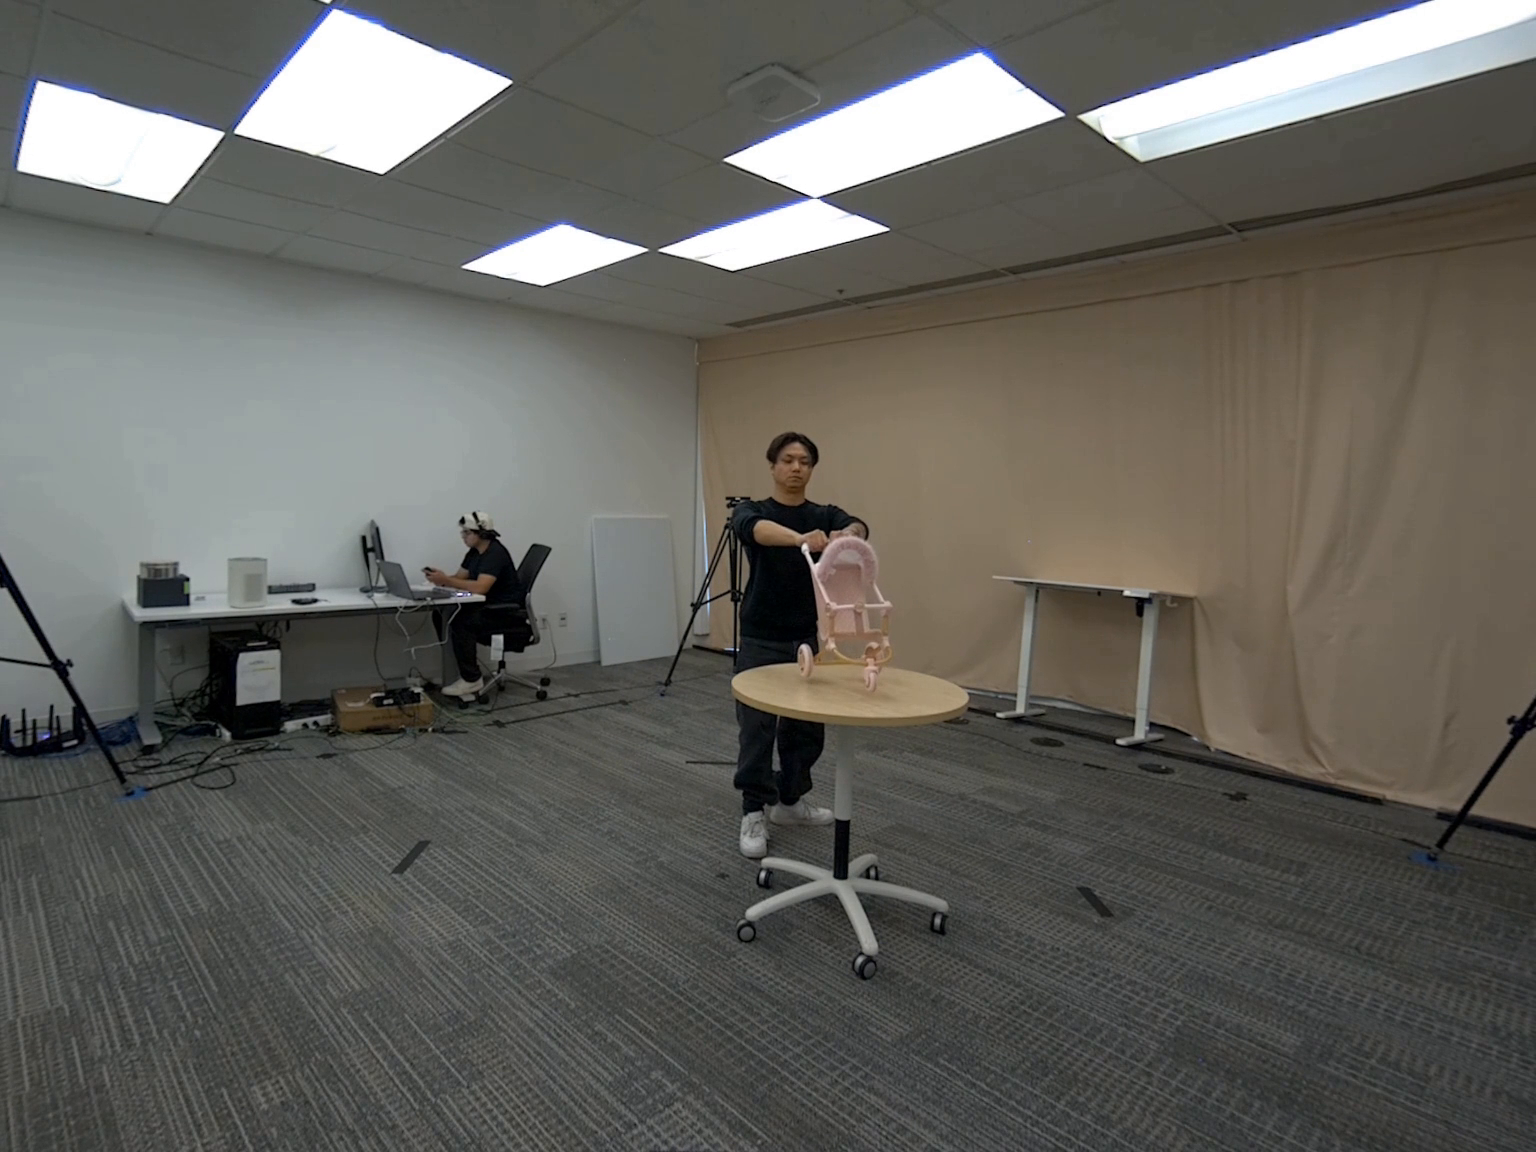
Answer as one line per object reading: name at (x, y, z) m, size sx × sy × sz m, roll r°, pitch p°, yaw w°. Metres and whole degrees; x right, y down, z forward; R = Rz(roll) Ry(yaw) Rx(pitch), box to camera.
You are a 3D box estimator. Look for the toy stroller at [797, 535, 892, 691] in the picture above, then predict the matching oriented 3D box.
toy stroller at (0.257, 0.114, 2.746) m, size 0.279 × 0.539 × 0.342 m, roll 0°, pitch -10°, yaw -12°
